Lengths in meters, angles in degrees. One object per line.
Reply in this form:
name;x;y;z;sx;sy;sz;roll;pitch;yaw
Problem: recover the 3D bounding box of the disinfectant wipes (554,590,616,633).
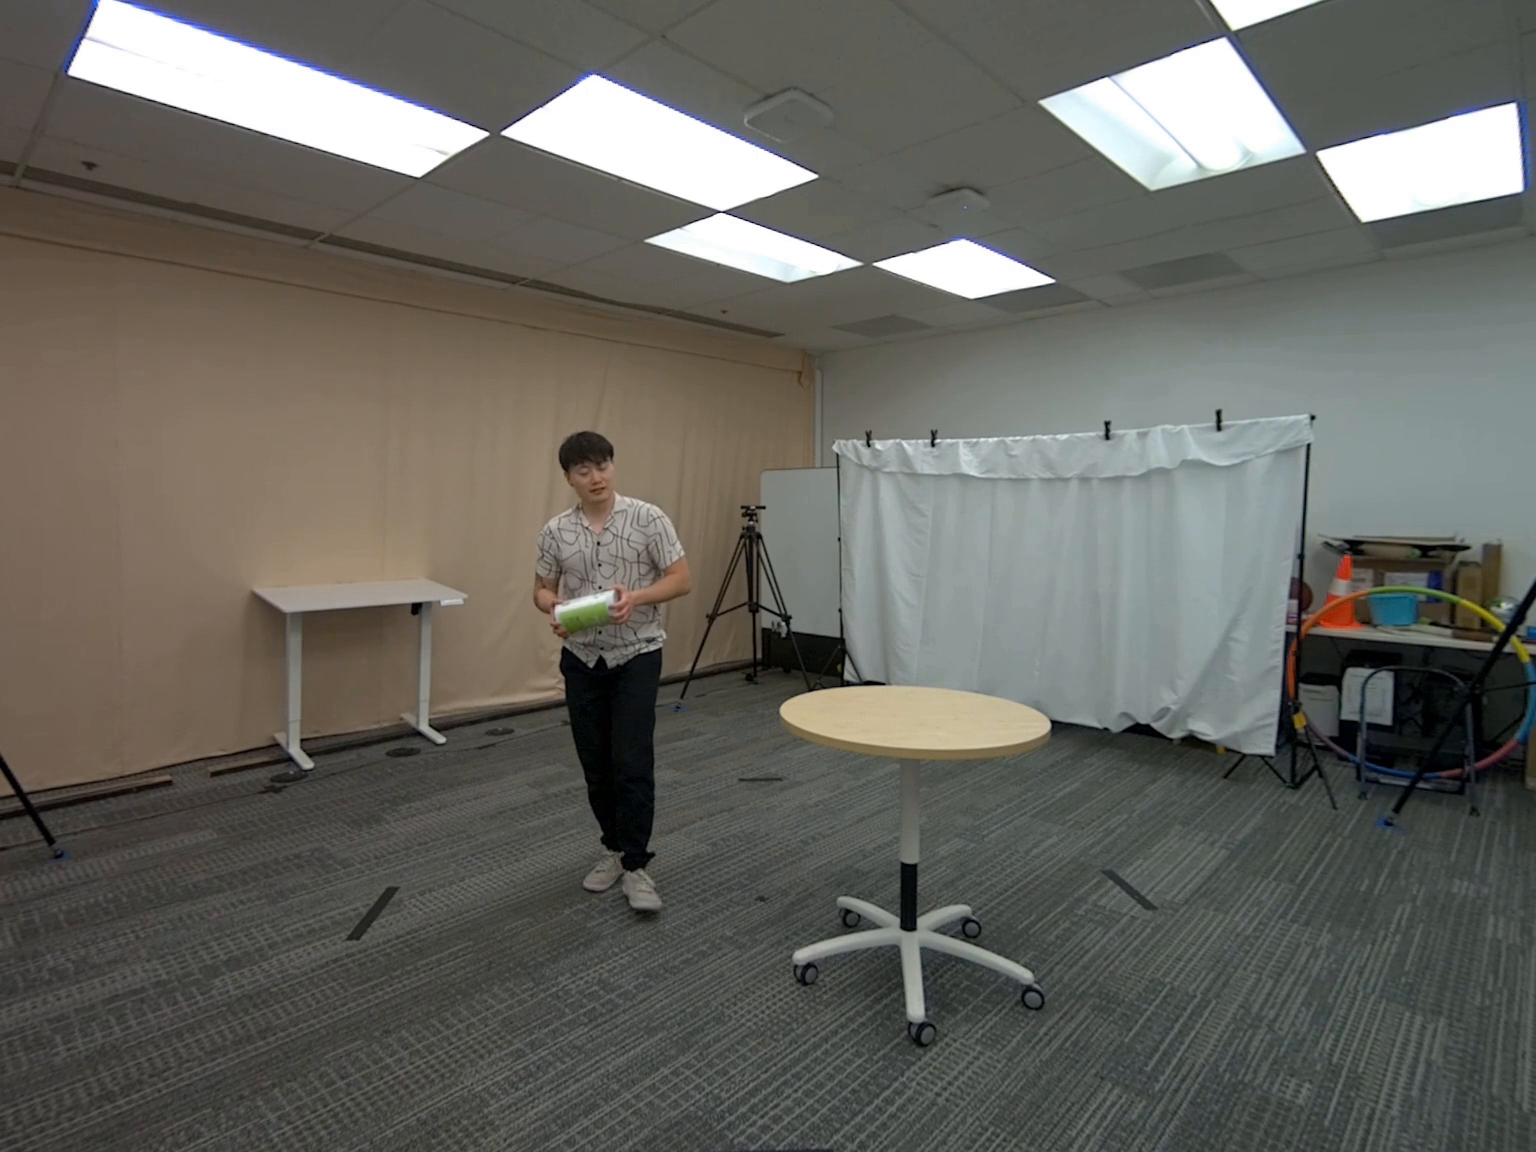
disinfectant wipes;-0.607;0.125;2.857;0.219;0.117;0.117;-14;2;9
